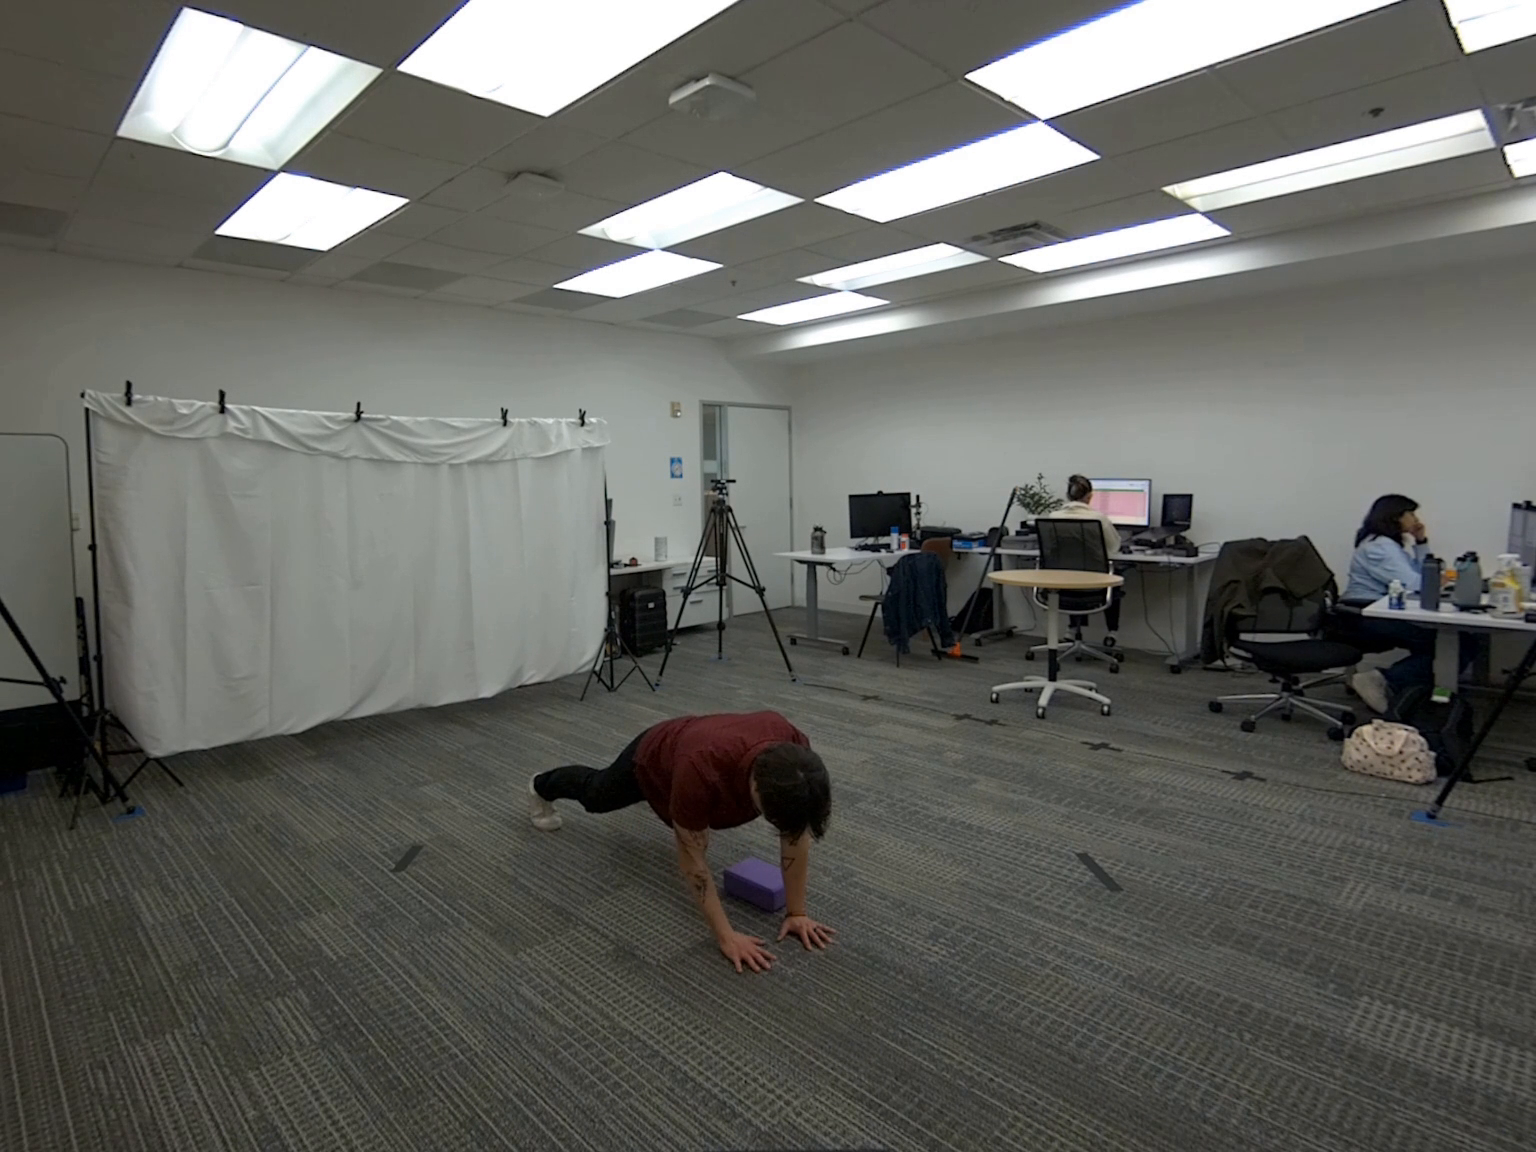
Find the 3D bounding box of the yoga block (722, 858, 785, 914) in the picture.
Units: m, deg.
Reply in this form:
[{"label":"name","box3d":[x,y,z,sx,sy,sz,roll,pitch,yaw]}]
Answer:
[{"label":"yoga block","box3d":[-0.021,1.030,2.872,0.236,0.076,0.145,6,8,44]}]
